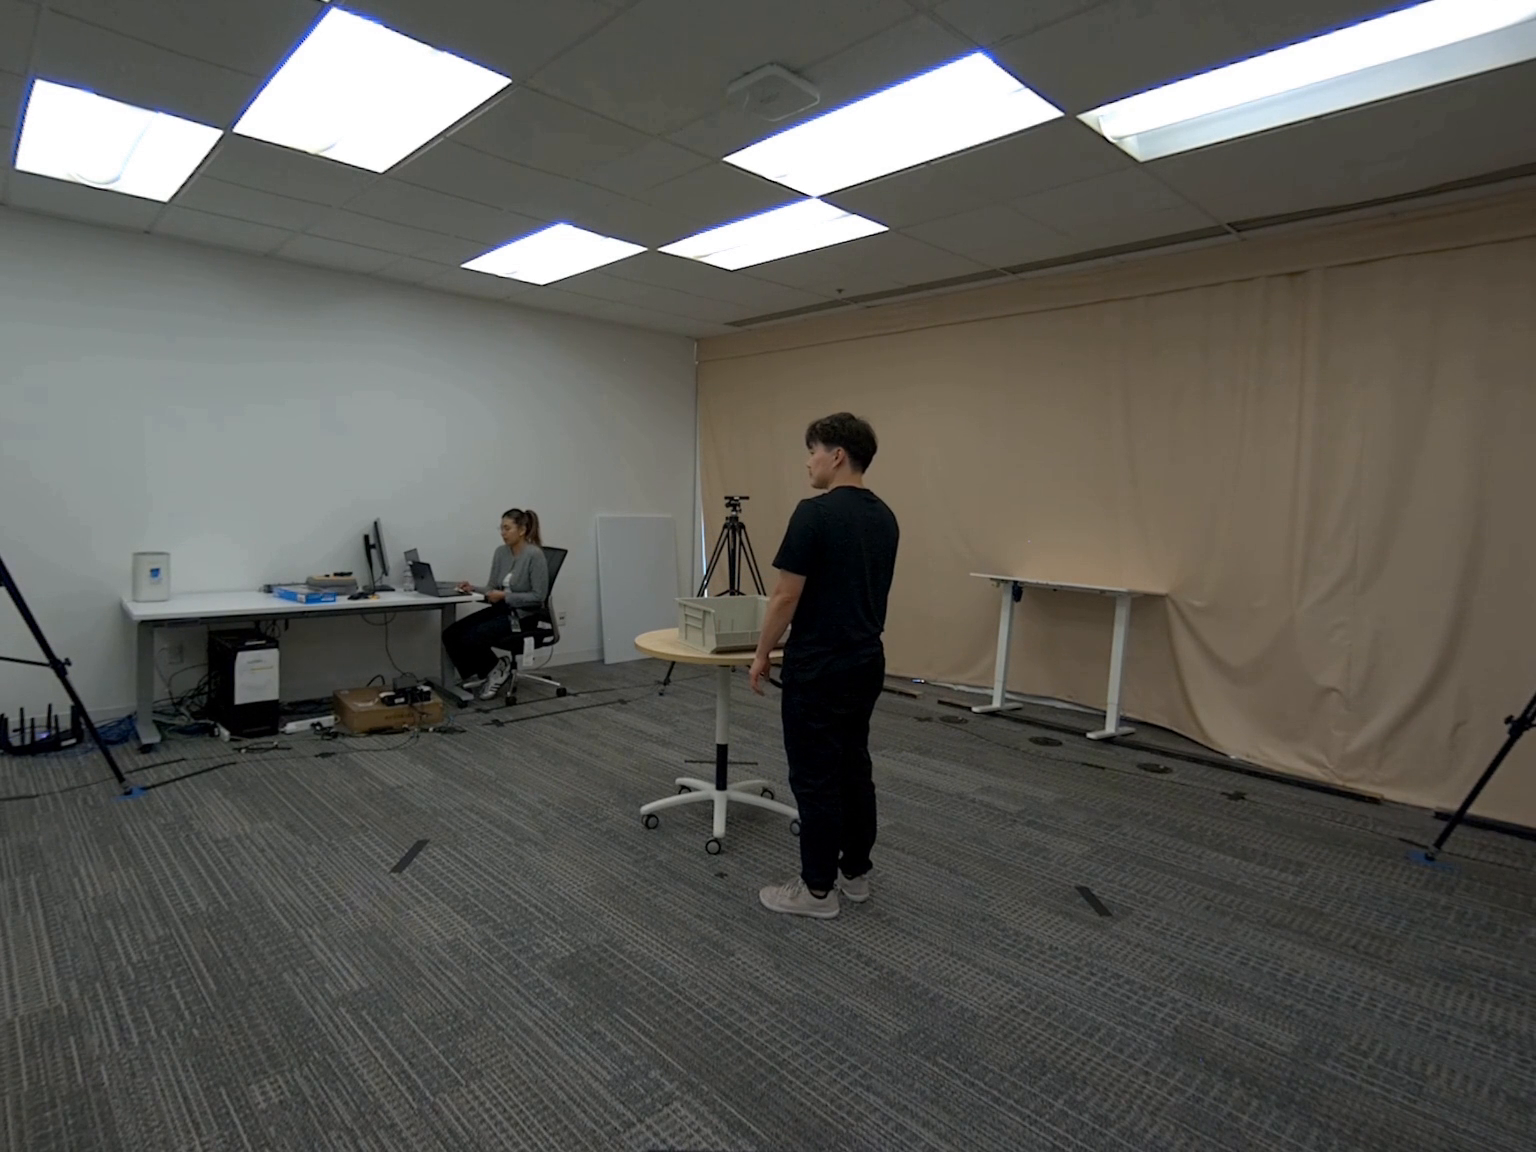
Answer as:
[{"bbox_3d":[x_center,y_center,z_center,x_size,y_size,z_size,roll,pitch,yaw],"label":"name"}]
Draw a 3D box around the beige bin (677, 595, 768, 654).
[{"bbox_3d":[-0.125,0.200,3.489,0.414,0.188,0.386,-2,5,-30],"label":"beige bin"}]
